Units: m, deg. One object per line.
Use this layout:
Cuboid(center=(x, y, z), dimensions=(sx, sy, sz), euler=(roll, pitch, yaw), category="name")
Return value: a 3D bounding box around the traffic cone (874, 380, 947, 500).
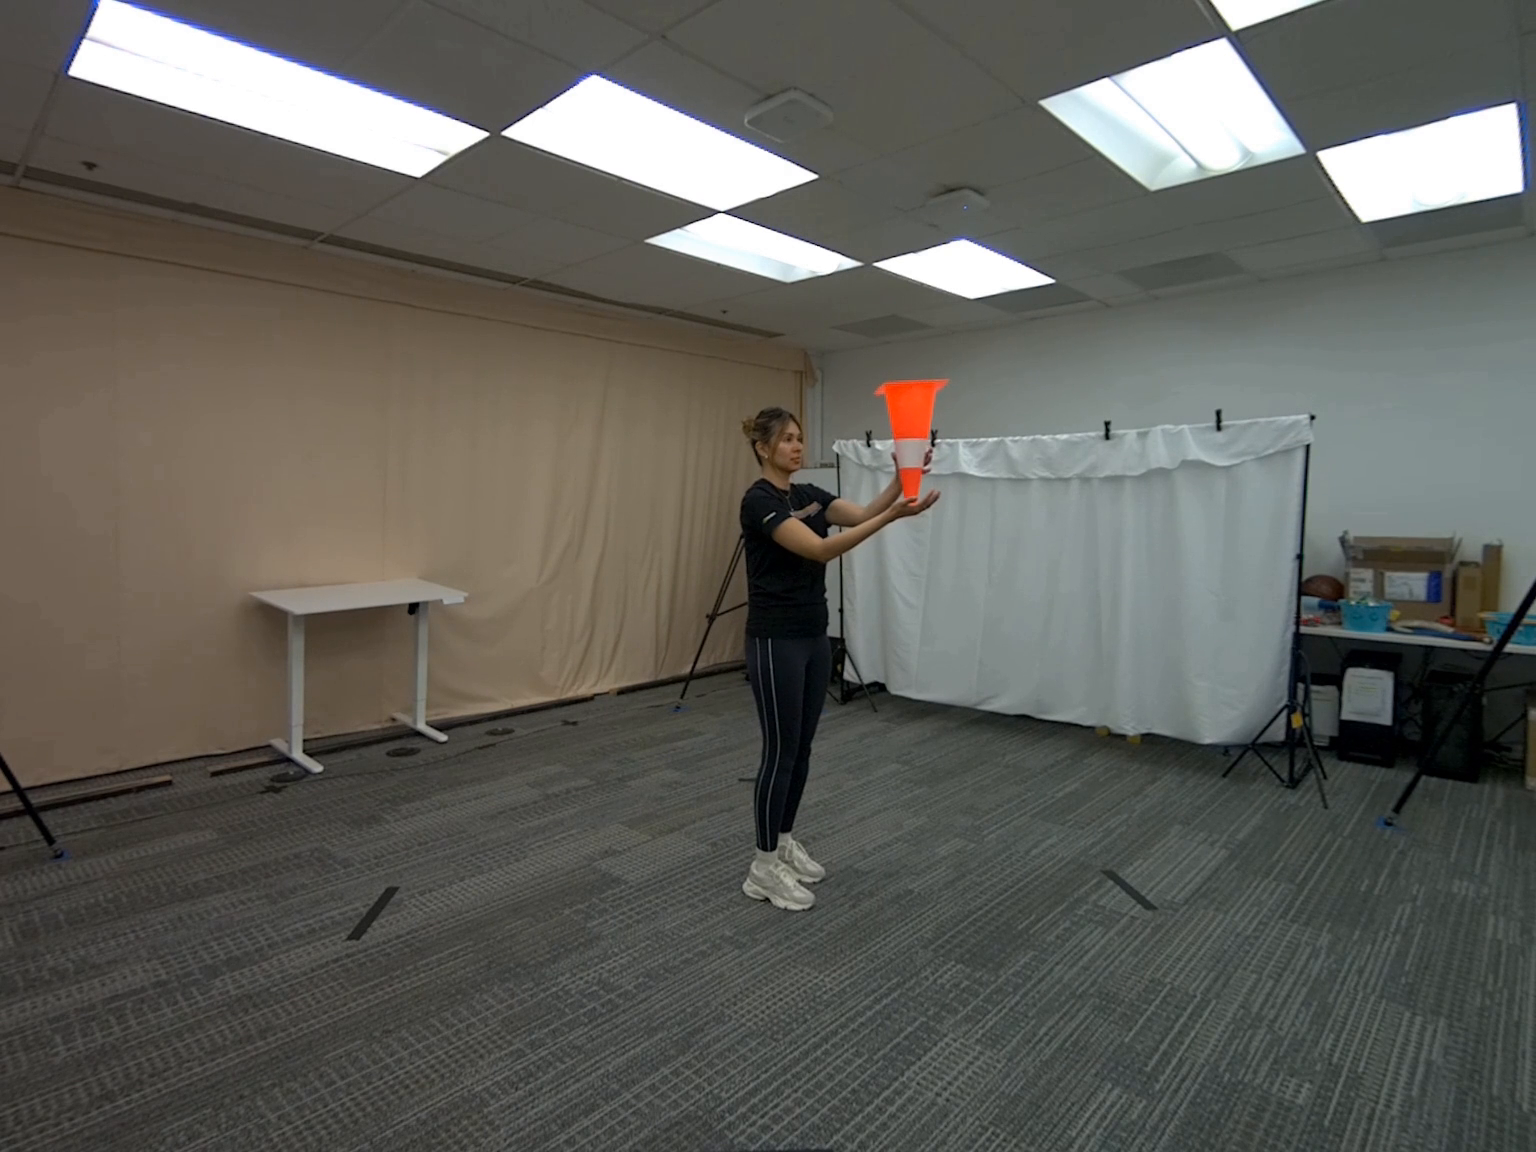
Cuboid(center=(0.461, -0.408, 2.655), dimensions=(0.205, 0.383, 0.203), euler=(-2, 1, -1), category="traffic cone")
